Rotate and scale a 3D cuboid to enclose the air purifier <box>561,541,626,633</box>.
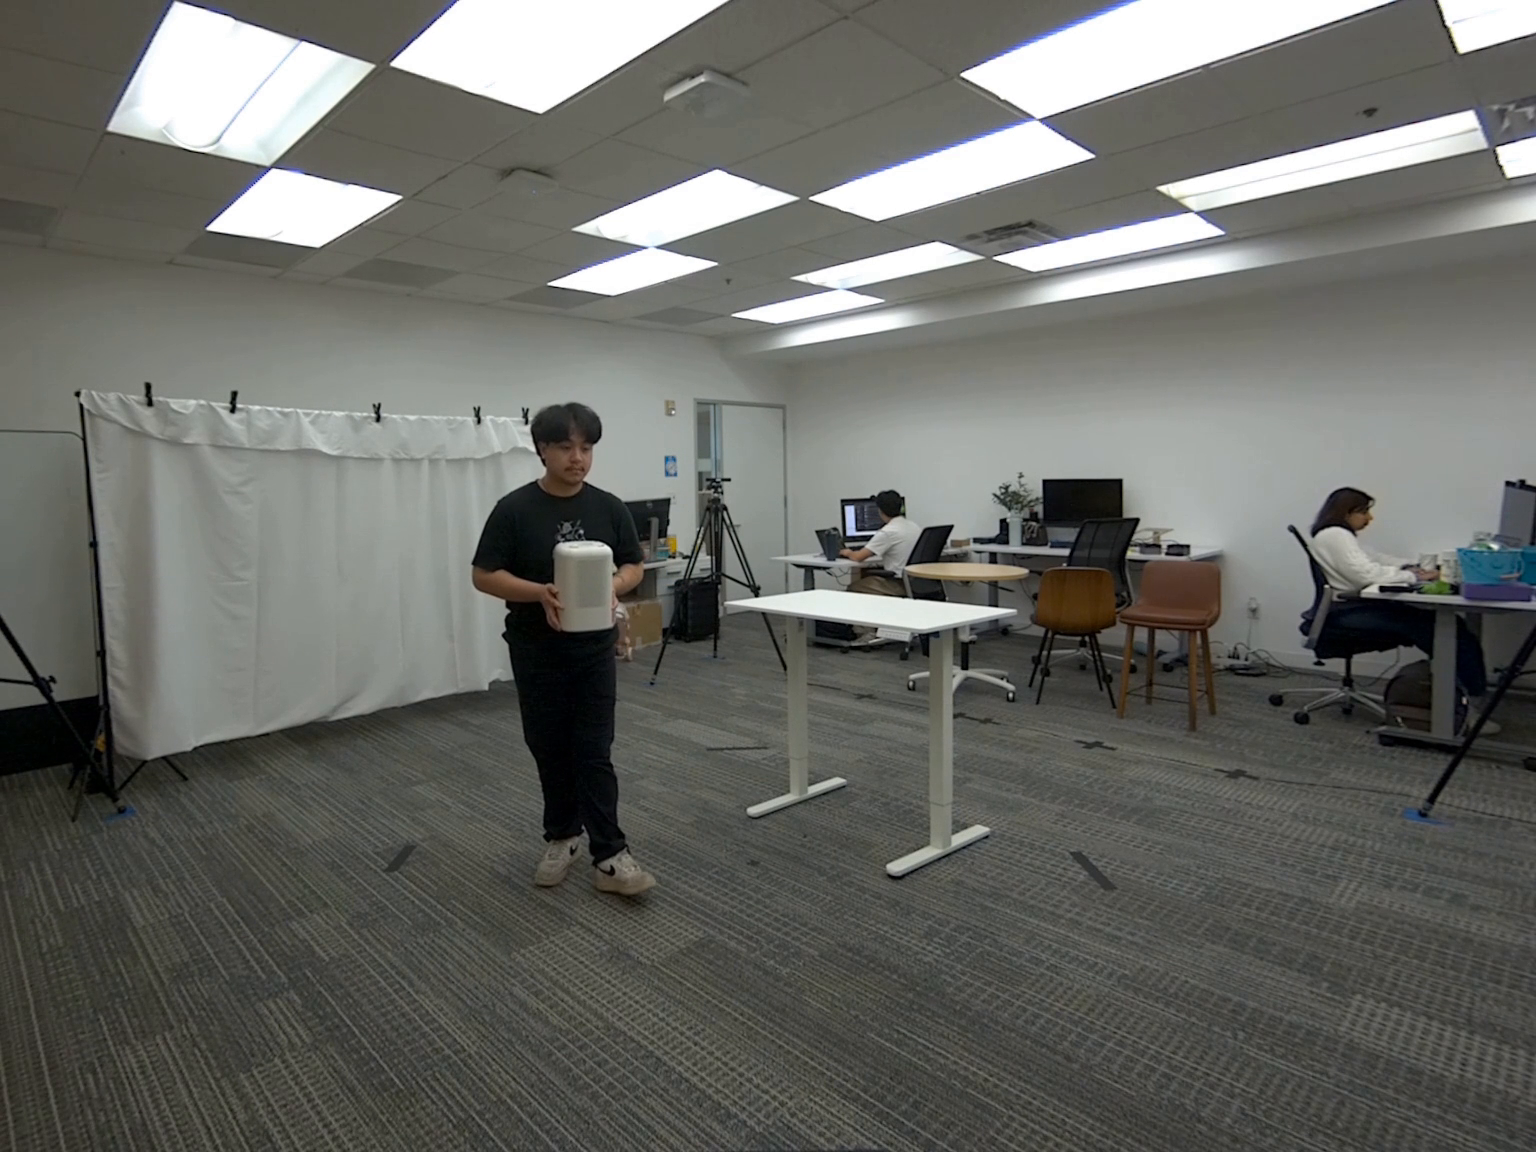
[{"bbox_3d":[-0.559,0.024,2.730,0.169,0.263,0.175,-4,9,-16],"label":"air purifier"}]
